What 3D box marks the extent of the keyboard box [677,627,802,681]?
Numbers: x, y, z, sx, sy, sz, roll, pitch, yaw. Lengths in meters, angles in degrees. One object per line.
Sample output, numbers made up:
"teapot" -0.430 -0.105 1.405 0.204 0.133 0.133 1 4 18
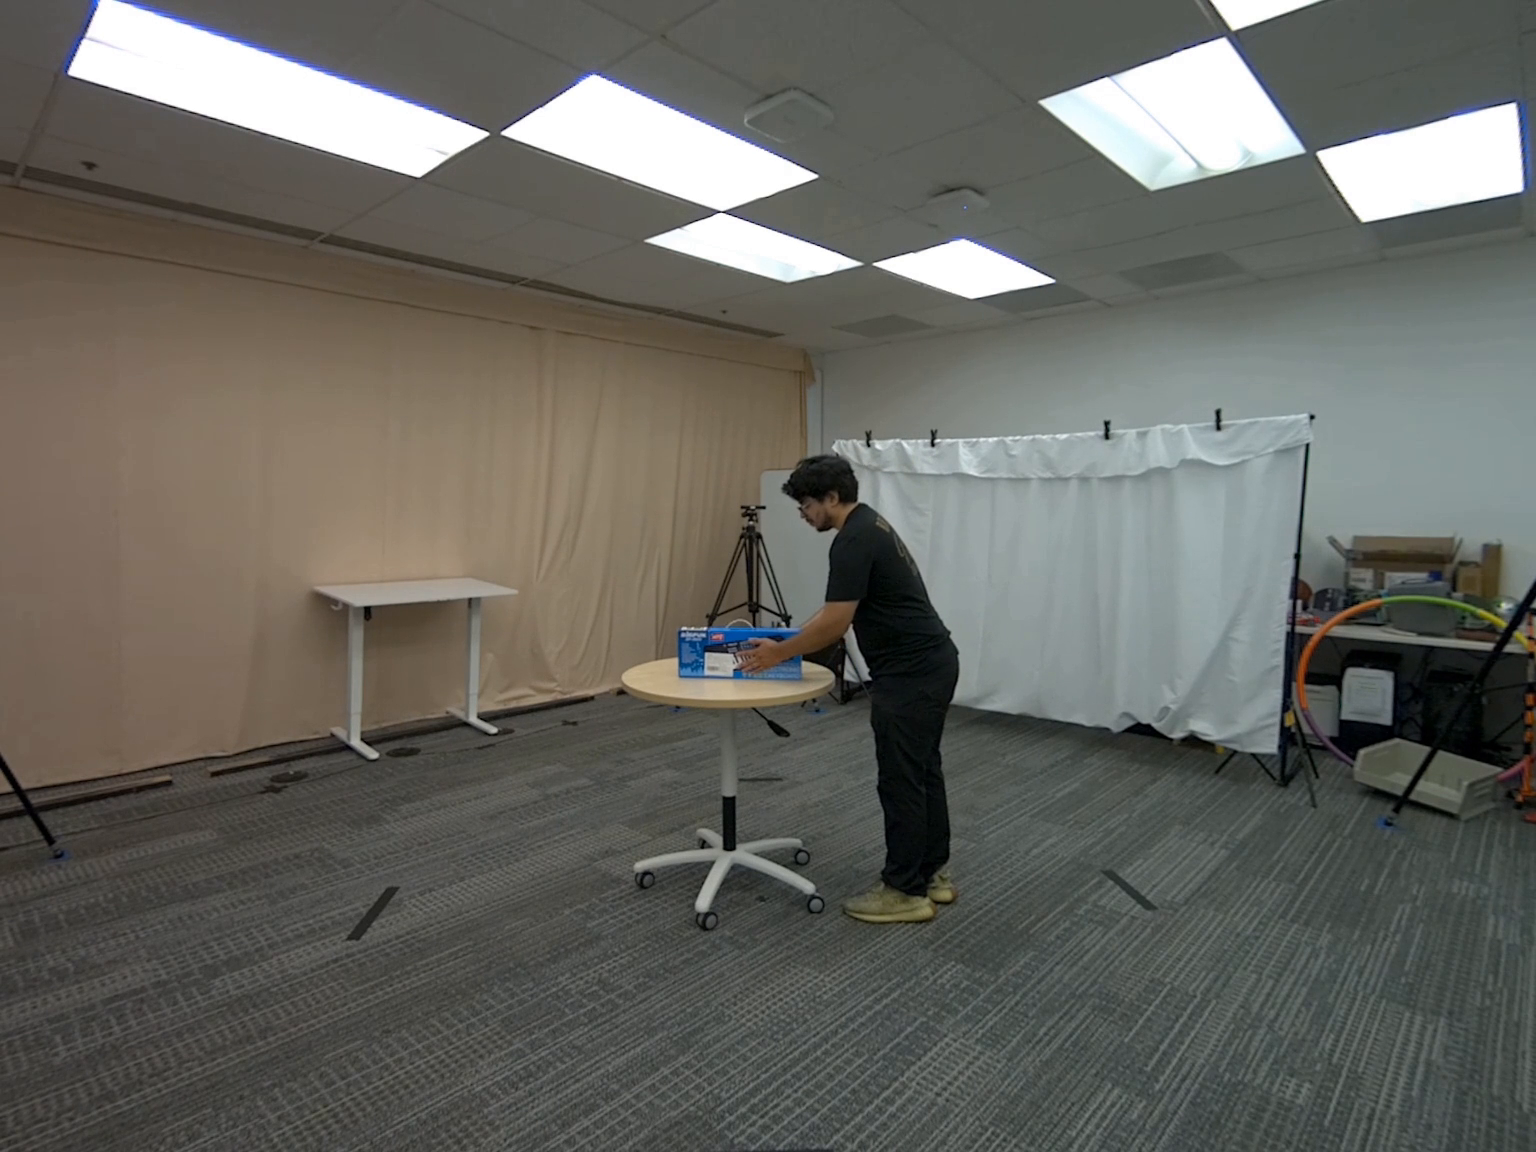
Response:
"keyboard box" -0.098 0.278 2.993 0.439 0.175 0.059 0 9 5
